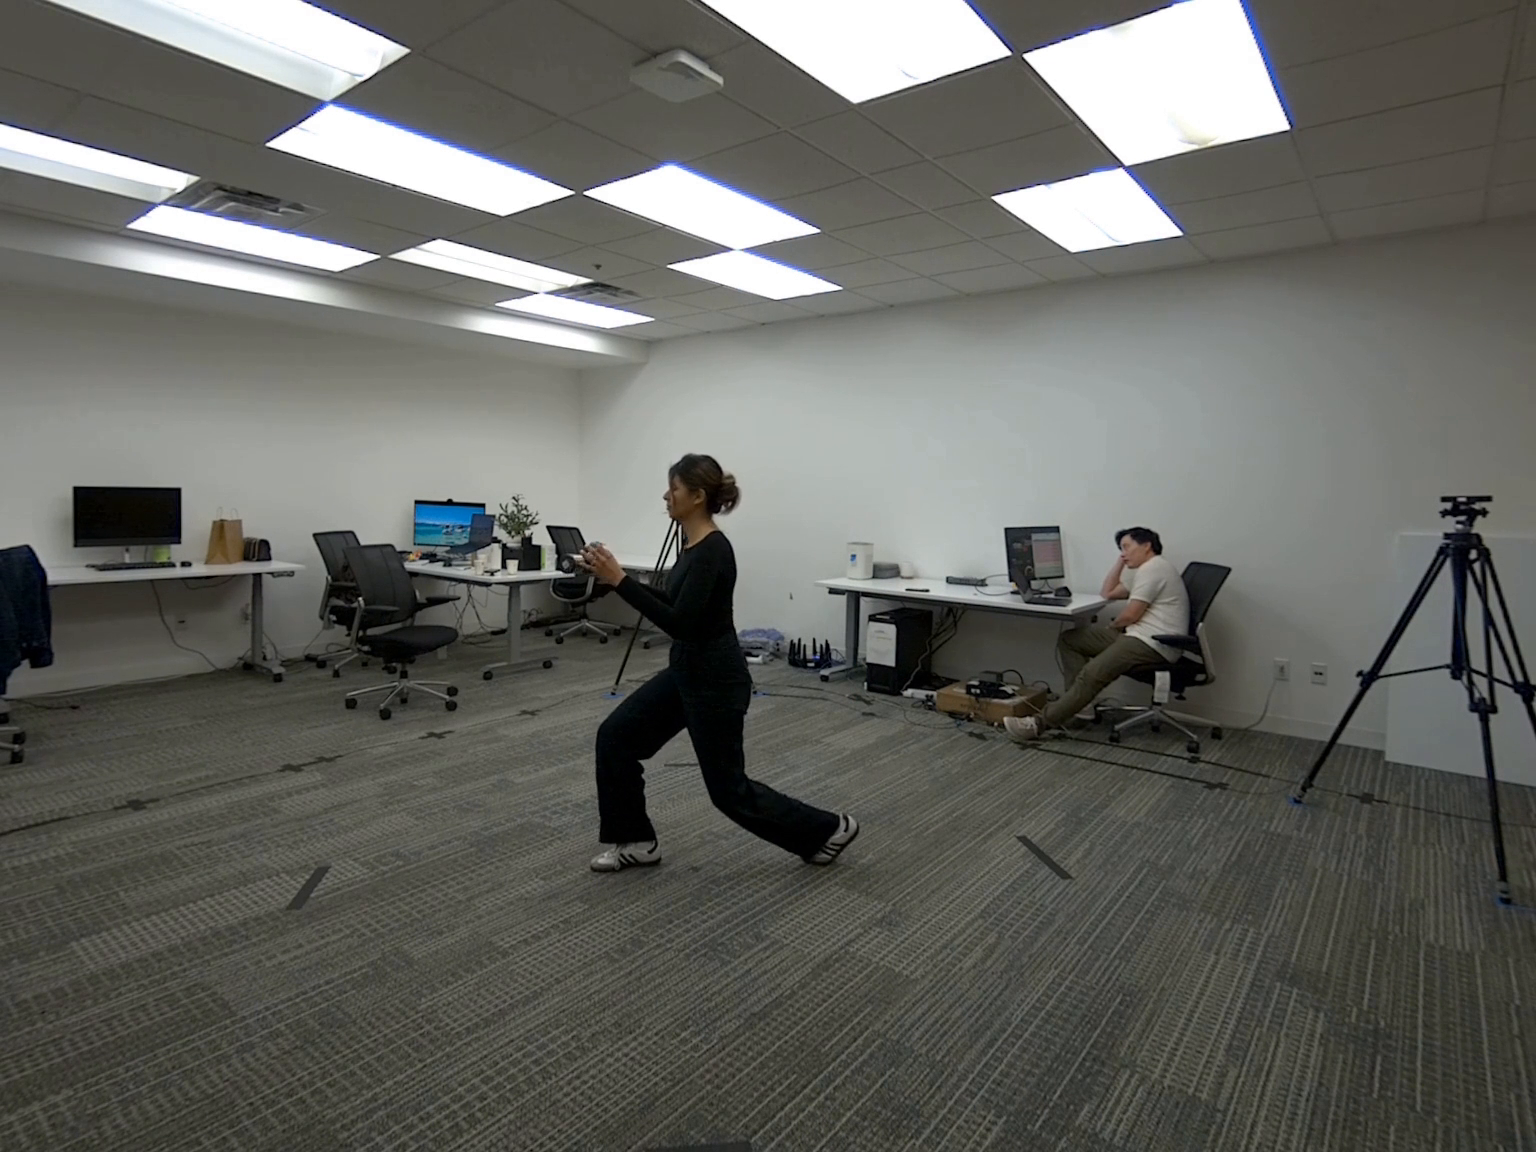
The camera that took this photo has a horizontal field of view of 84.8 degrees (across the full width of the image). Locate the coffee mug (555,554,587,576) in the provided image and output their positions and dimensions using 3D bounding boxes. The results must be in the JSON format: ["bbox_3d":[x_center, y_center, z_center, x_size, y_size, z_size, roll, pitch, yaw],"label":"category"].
[{"bbox_3d":[-0.688,-0.034,3.207,0.091,0.121,0.197,35,13,24],"label":"coffee mug"}]
